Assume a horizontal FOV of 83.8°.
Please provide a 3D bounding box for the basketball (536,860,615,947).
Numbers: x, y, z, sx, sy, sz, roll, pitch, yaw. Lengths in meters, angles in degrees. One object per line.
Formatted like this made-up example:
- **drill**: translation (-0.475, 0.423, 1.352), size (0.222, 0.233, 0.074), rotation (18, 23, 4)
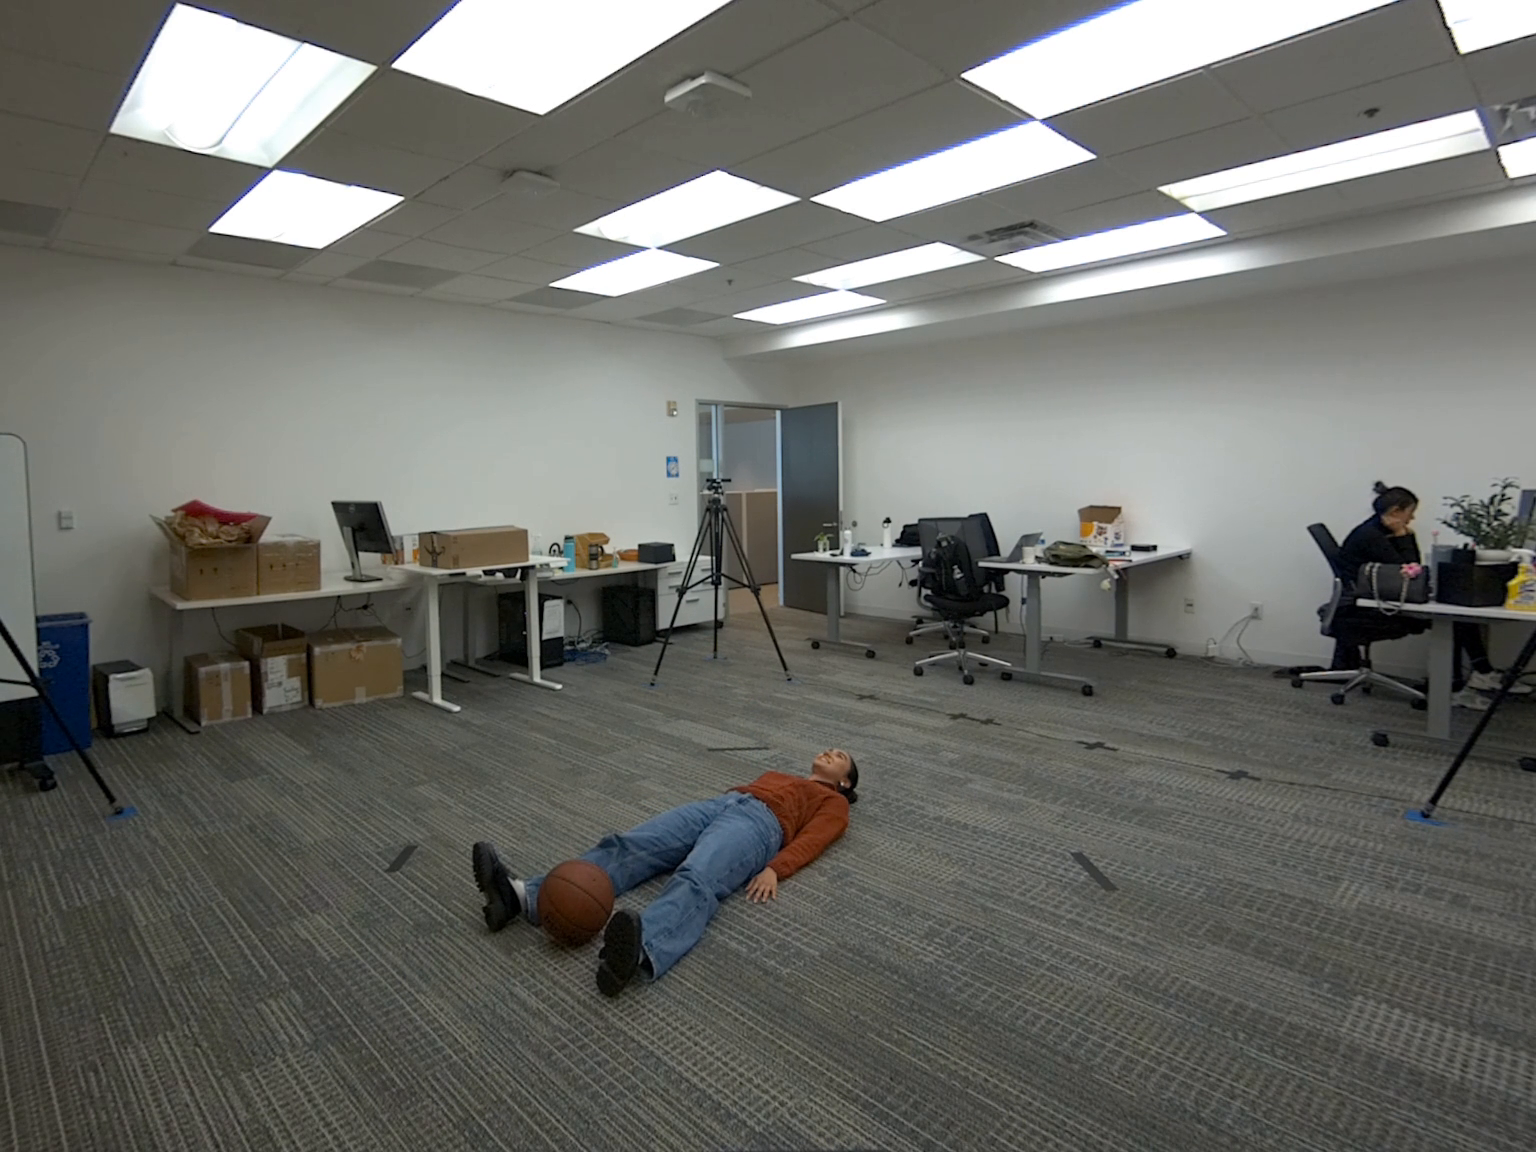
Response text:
- **basketball**: translation (-0.589, 0.995, 2.620), size (0.236, 0.235, 0.237), rotation (-1, 5, -2)
